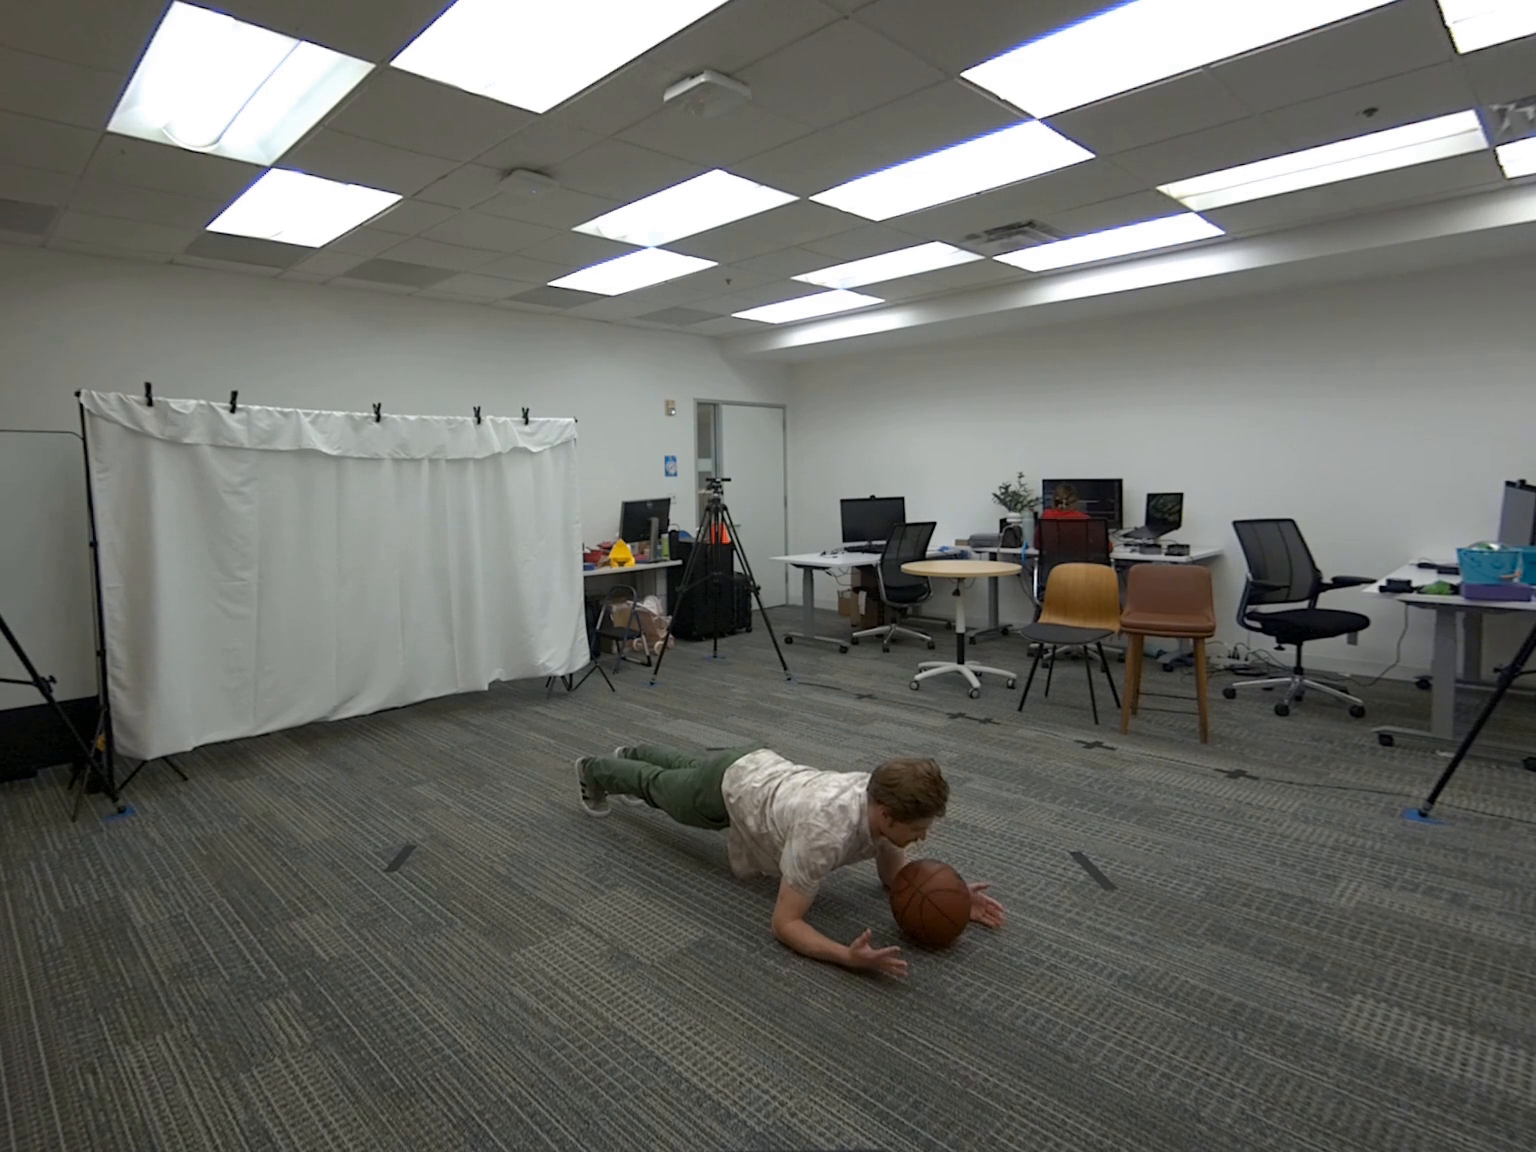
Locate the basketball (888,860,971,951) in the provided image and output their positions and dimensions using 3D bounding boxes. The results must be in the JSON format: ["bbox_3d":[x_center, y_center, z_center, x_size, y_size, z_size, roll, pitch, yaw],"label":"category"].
[{"bbox_3d":[0.482,0.975,2.564,0.236,0.235,0.237,-1,5,-2],"label":"basketball"}]
